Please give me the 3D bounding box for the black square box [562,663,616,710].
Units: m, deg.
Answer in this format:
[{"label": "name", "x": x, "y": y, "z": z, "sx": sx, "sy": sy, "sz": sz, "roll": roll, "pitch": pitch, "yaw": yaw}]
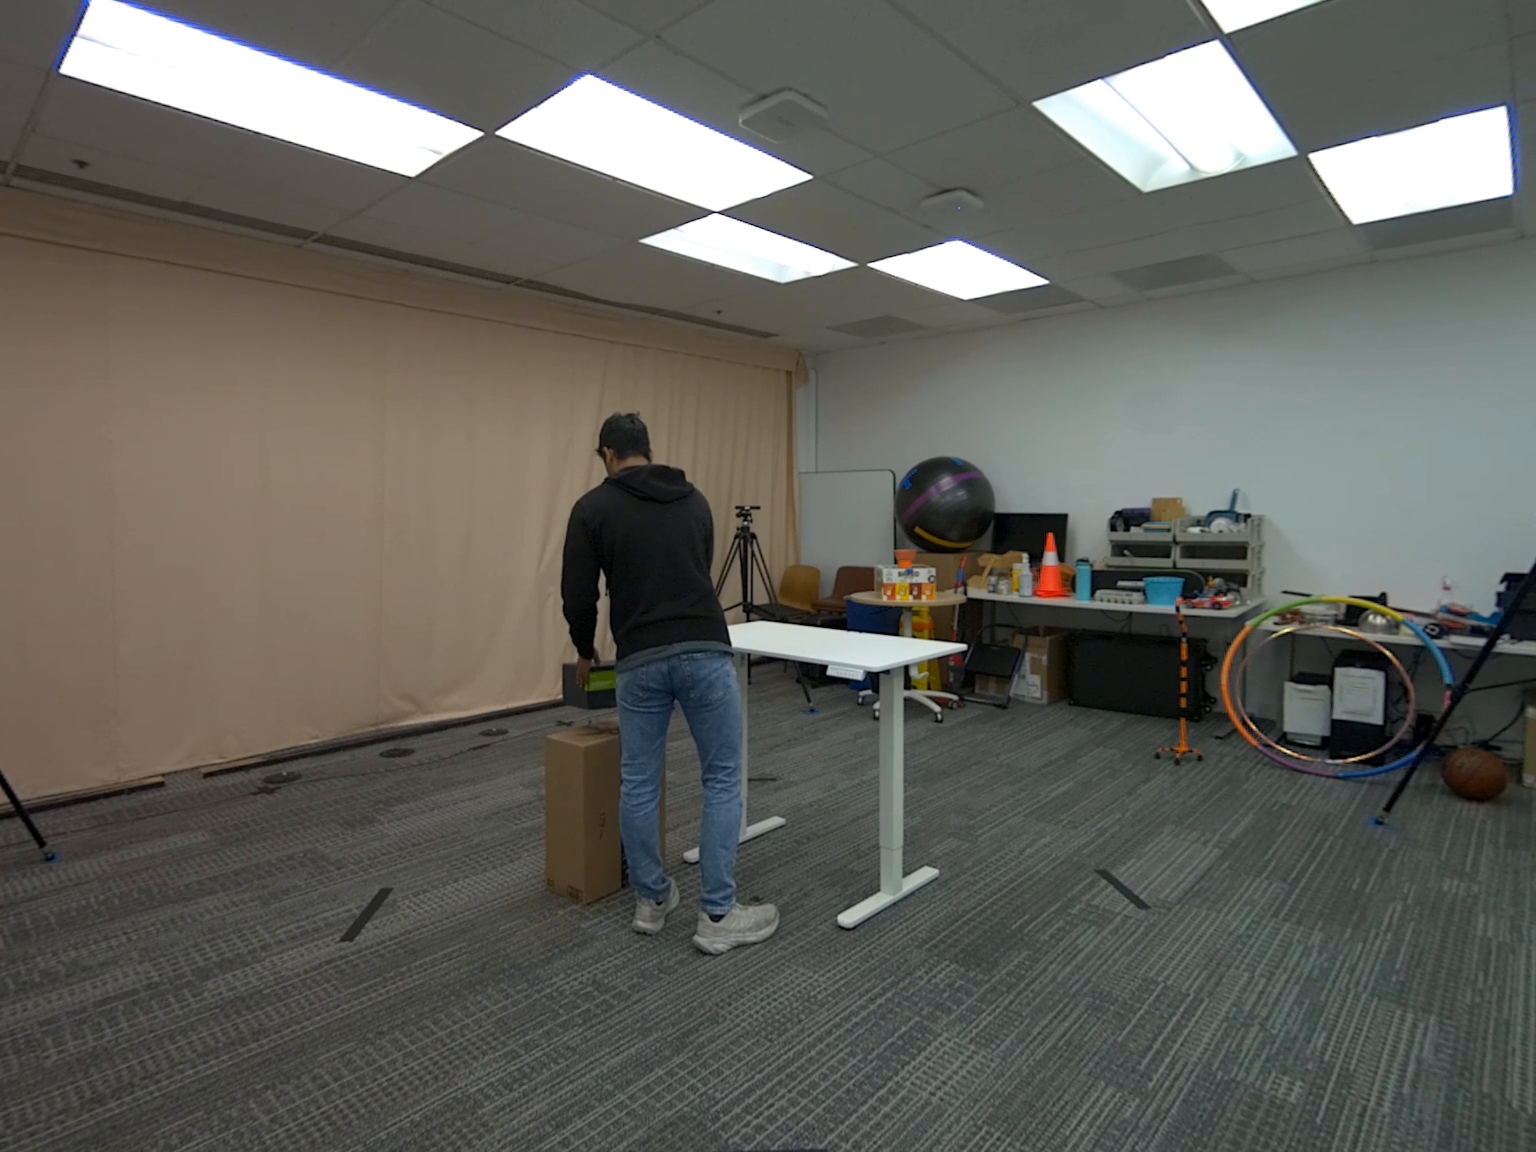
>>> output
[{"label": "black square box", "x": -0.619, "y": 0.391, "z": 3.158, "sx": 0.221, "sy": 0.156, "sz": 0.223, "roll": 1, "pitch": -2, "yaw": -38}]
